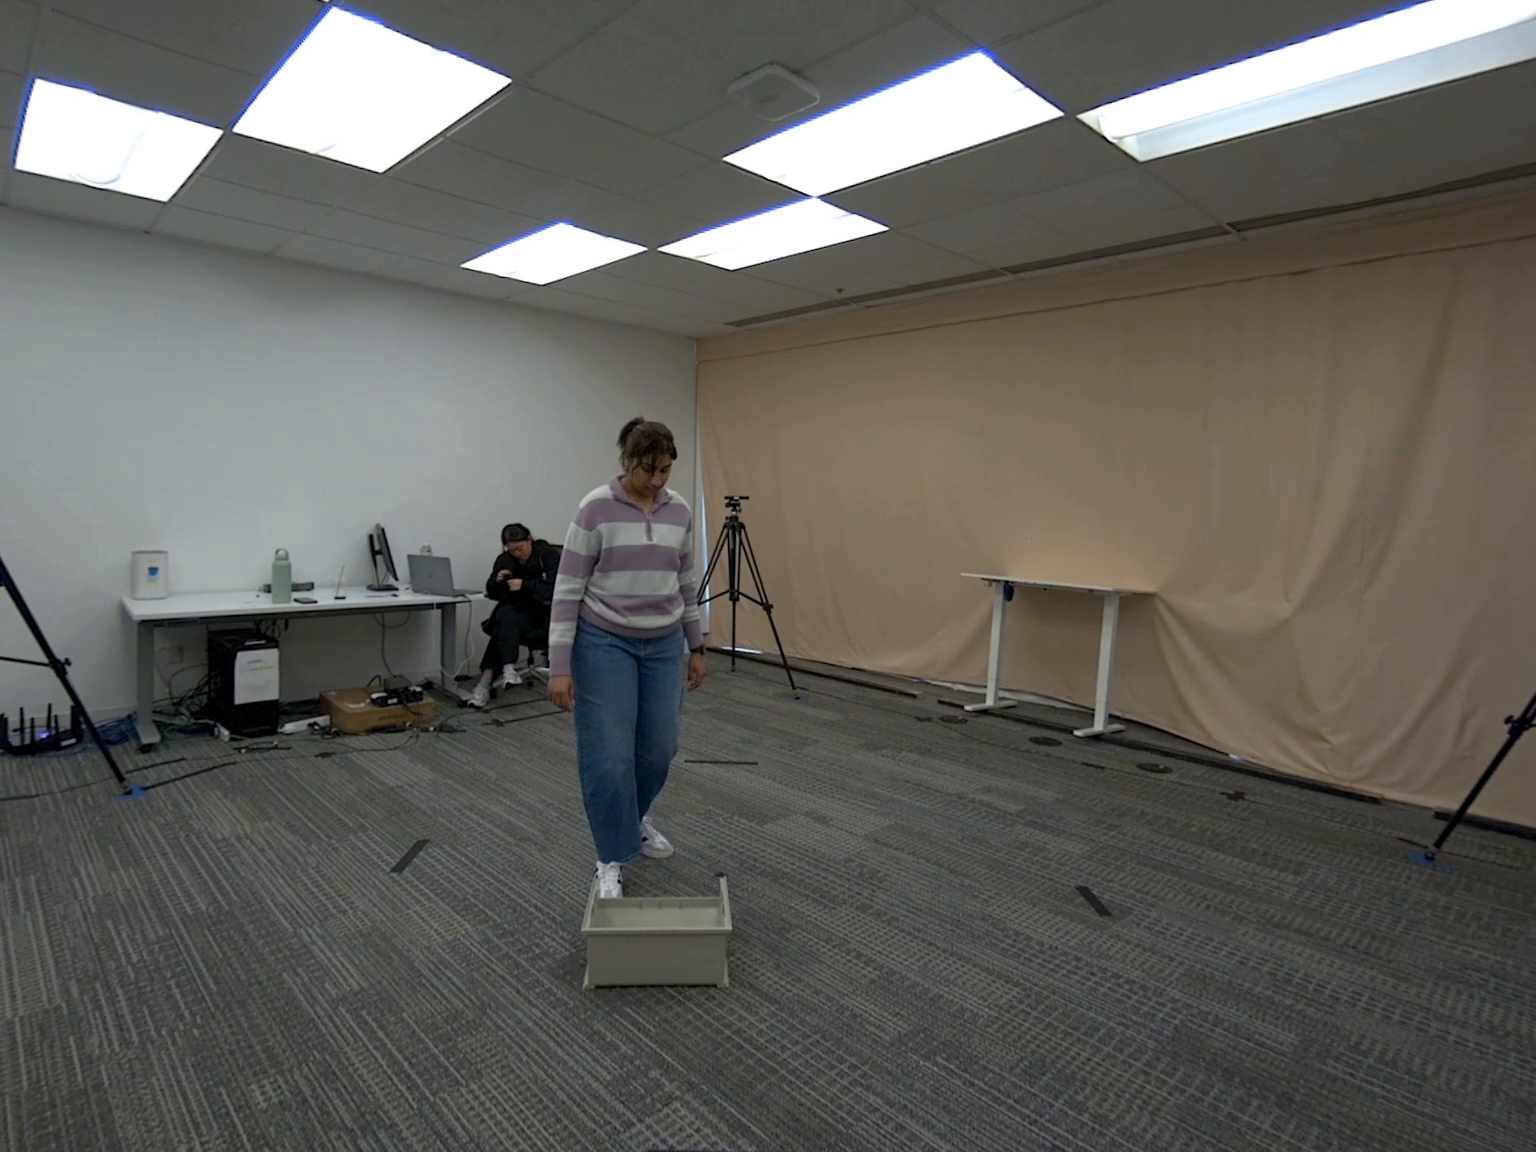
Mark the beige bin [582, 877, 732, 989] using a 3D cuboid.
[{"bbox_3d":[-0.333,1.066,2.537,0.421,0.188,0.380,1,6,-5],"label":"beige bin"}]
